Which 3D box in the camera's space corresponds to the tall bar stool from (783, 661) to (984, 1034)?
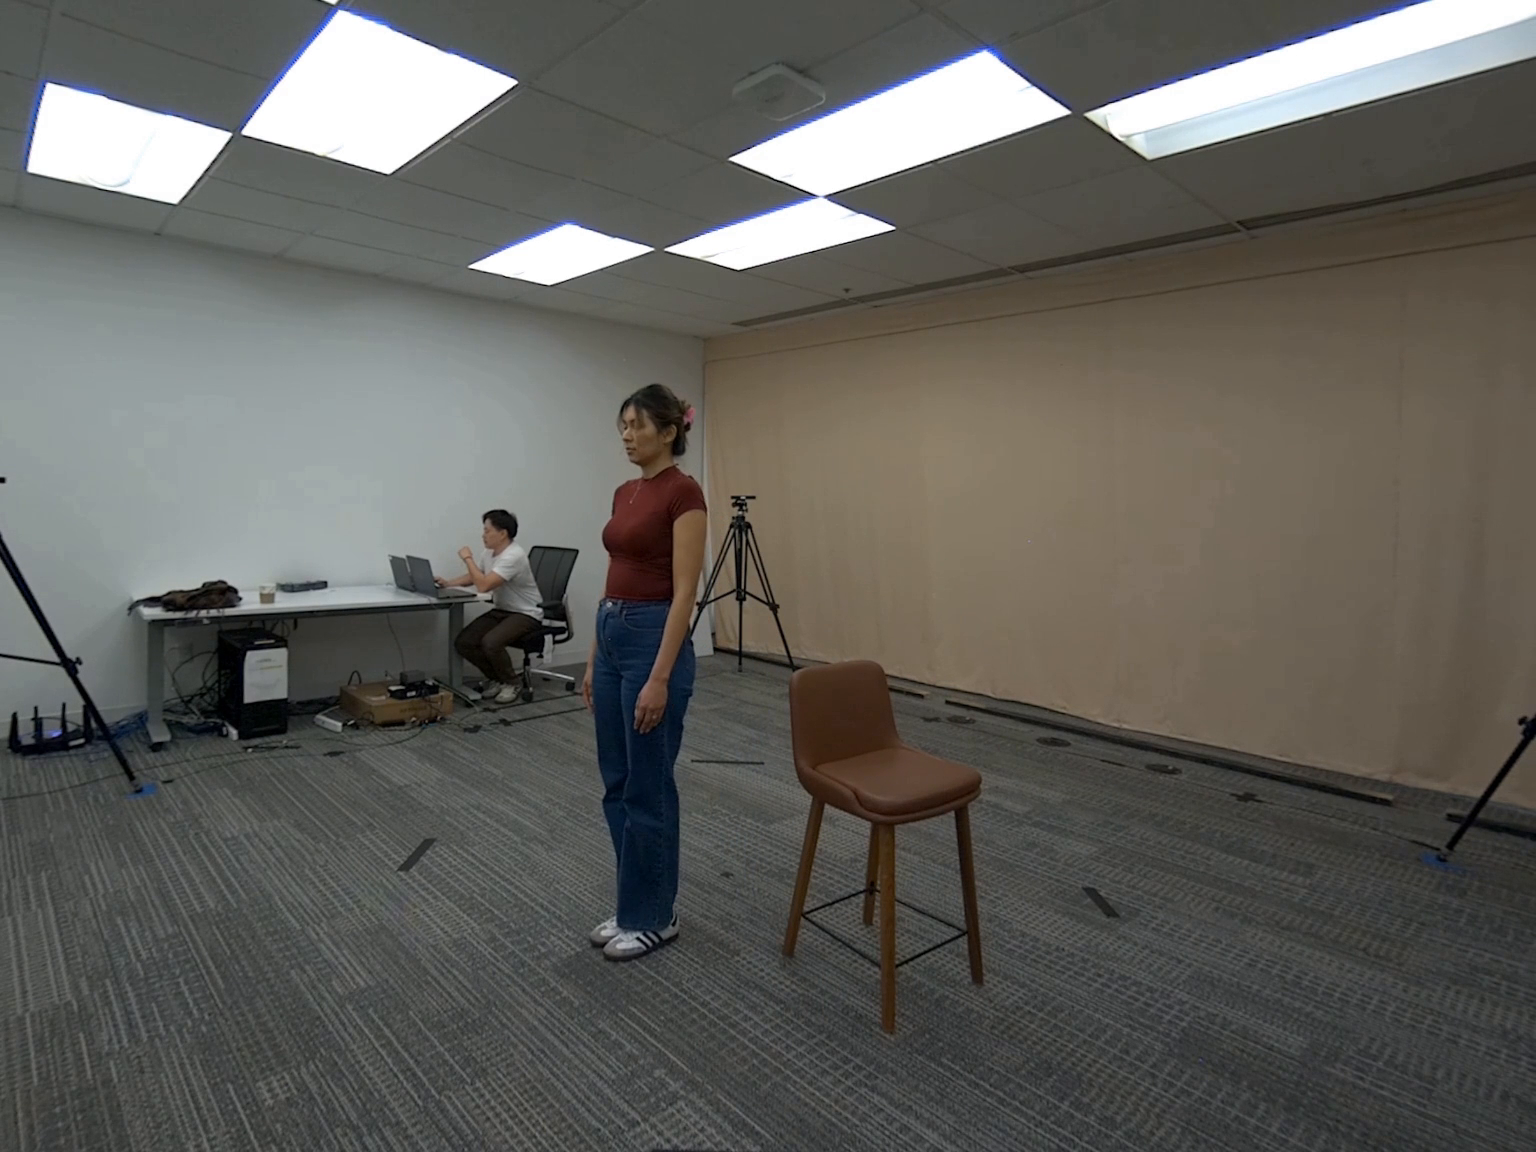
[{"bbox_3d":[0.331,0.737,2.475,0.446,0.888,0.479,-1,3,-39],"label":"tall bar stool"}]
